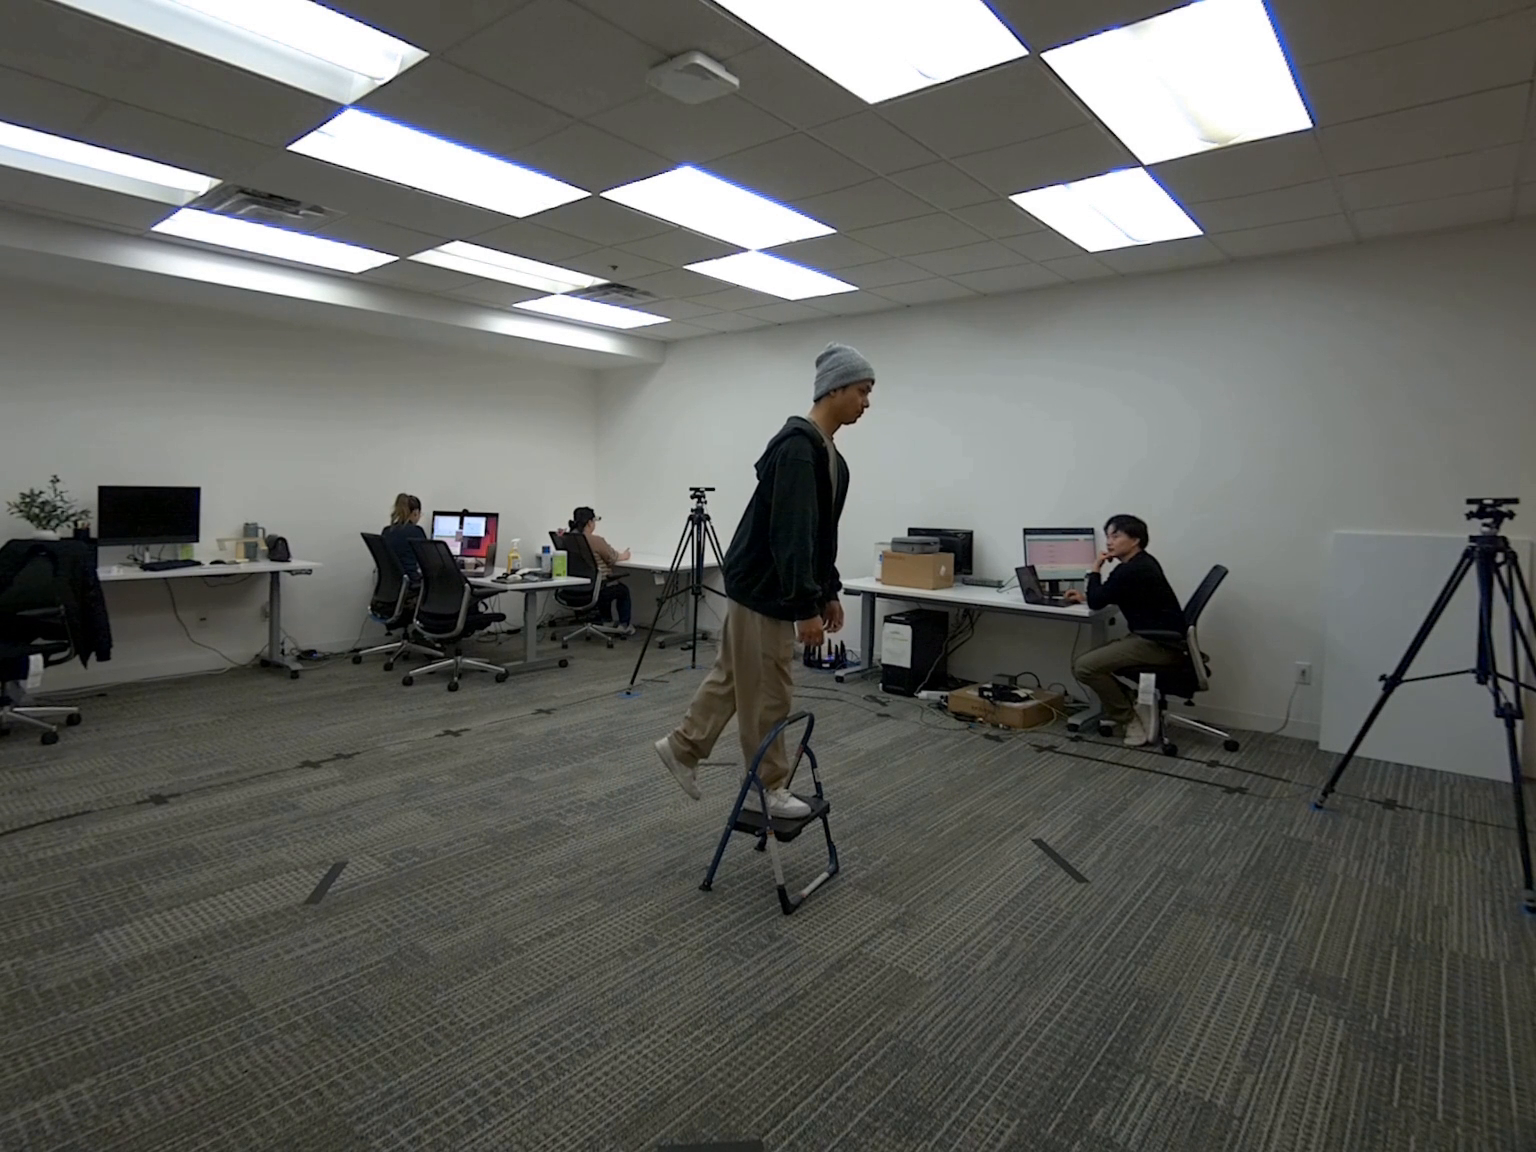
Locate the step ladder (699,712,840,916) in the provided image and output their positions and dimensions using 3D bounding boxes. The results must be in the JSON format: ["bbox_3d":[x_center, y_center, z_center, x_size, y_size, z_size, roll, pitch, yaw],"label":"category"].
[{"bbox_3d":[0.017,0.779,3.017,0.359,0.604,0.420,4,4,29],"label":"step ladder"}]
